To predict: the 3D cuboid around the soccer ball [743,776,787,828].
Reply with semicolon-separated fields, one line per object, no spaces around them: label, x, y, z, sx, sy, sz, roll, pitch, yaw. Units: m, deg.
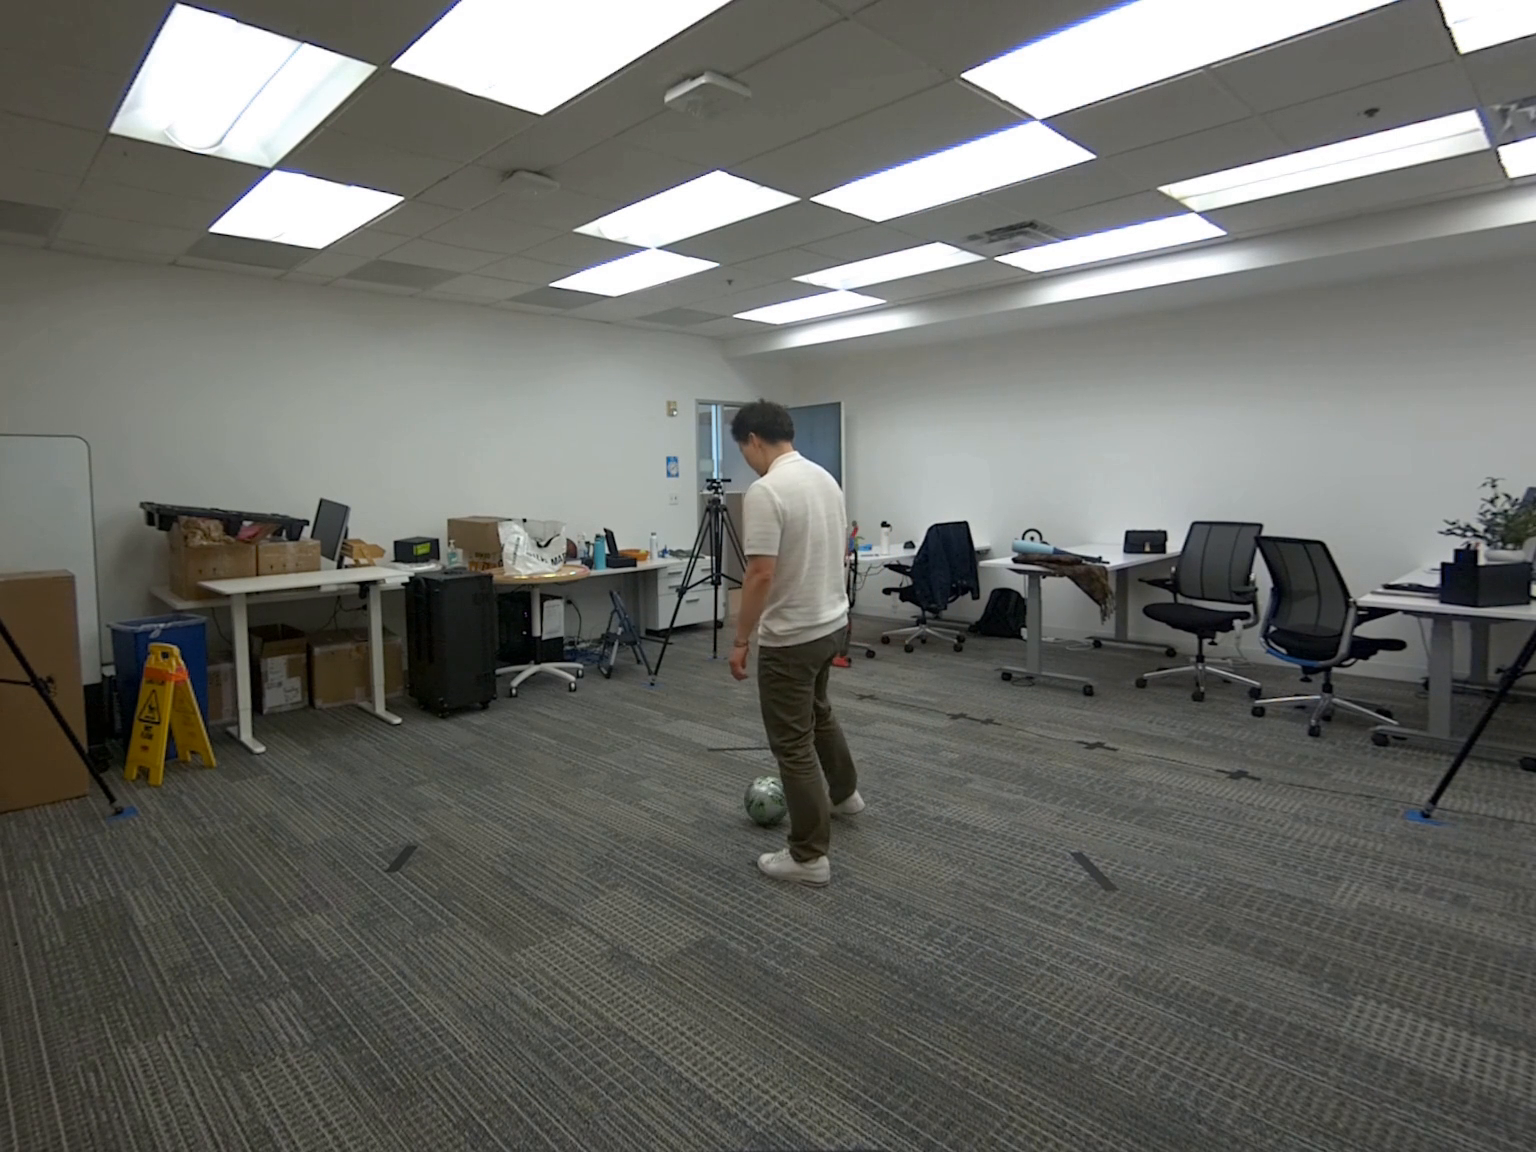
soccer ball;0.000;0.907;3.464;0.187;0.187;0.188;-1;5;-2
